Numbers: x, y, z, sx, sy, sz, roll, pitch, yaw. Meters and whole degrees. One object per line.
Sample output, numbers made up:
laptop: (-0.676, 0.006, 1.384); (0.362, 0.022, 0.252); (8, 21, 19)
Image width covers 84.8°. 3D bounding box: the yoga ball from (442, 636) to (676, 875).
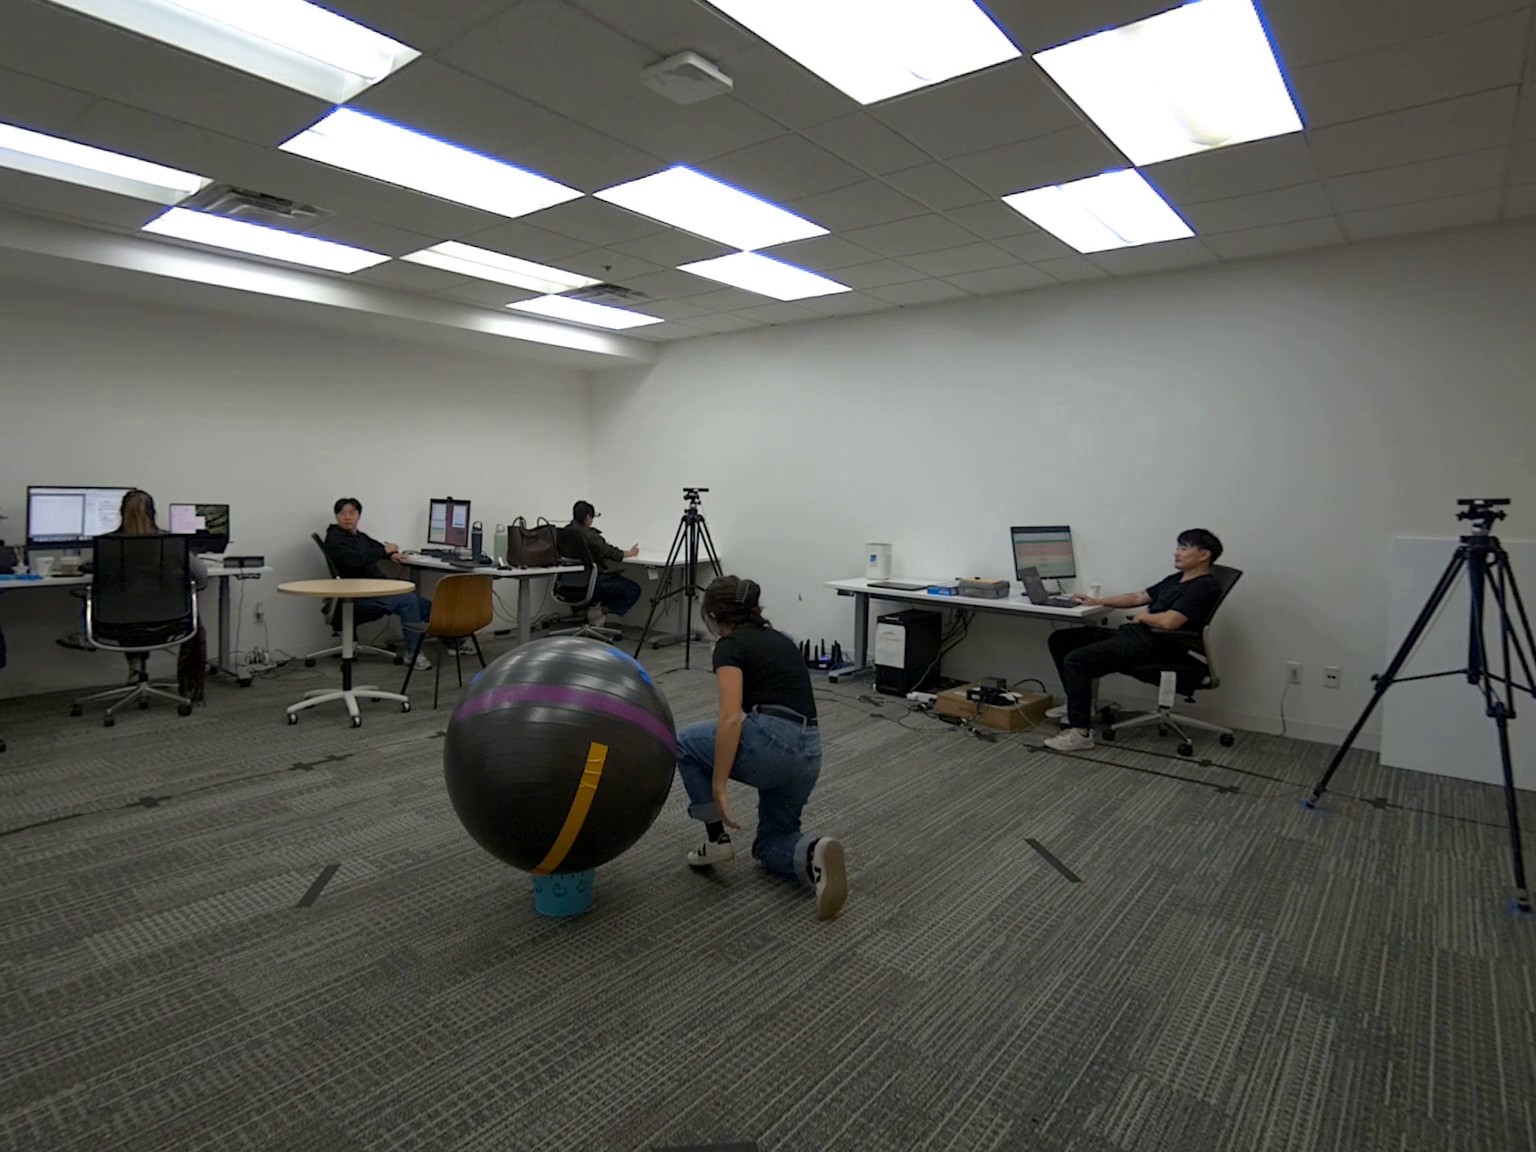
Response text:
yoga ball: (-0.693, 0.579, 2.806); (0.757, 0.755, 0.762); (1, 4, -2)
